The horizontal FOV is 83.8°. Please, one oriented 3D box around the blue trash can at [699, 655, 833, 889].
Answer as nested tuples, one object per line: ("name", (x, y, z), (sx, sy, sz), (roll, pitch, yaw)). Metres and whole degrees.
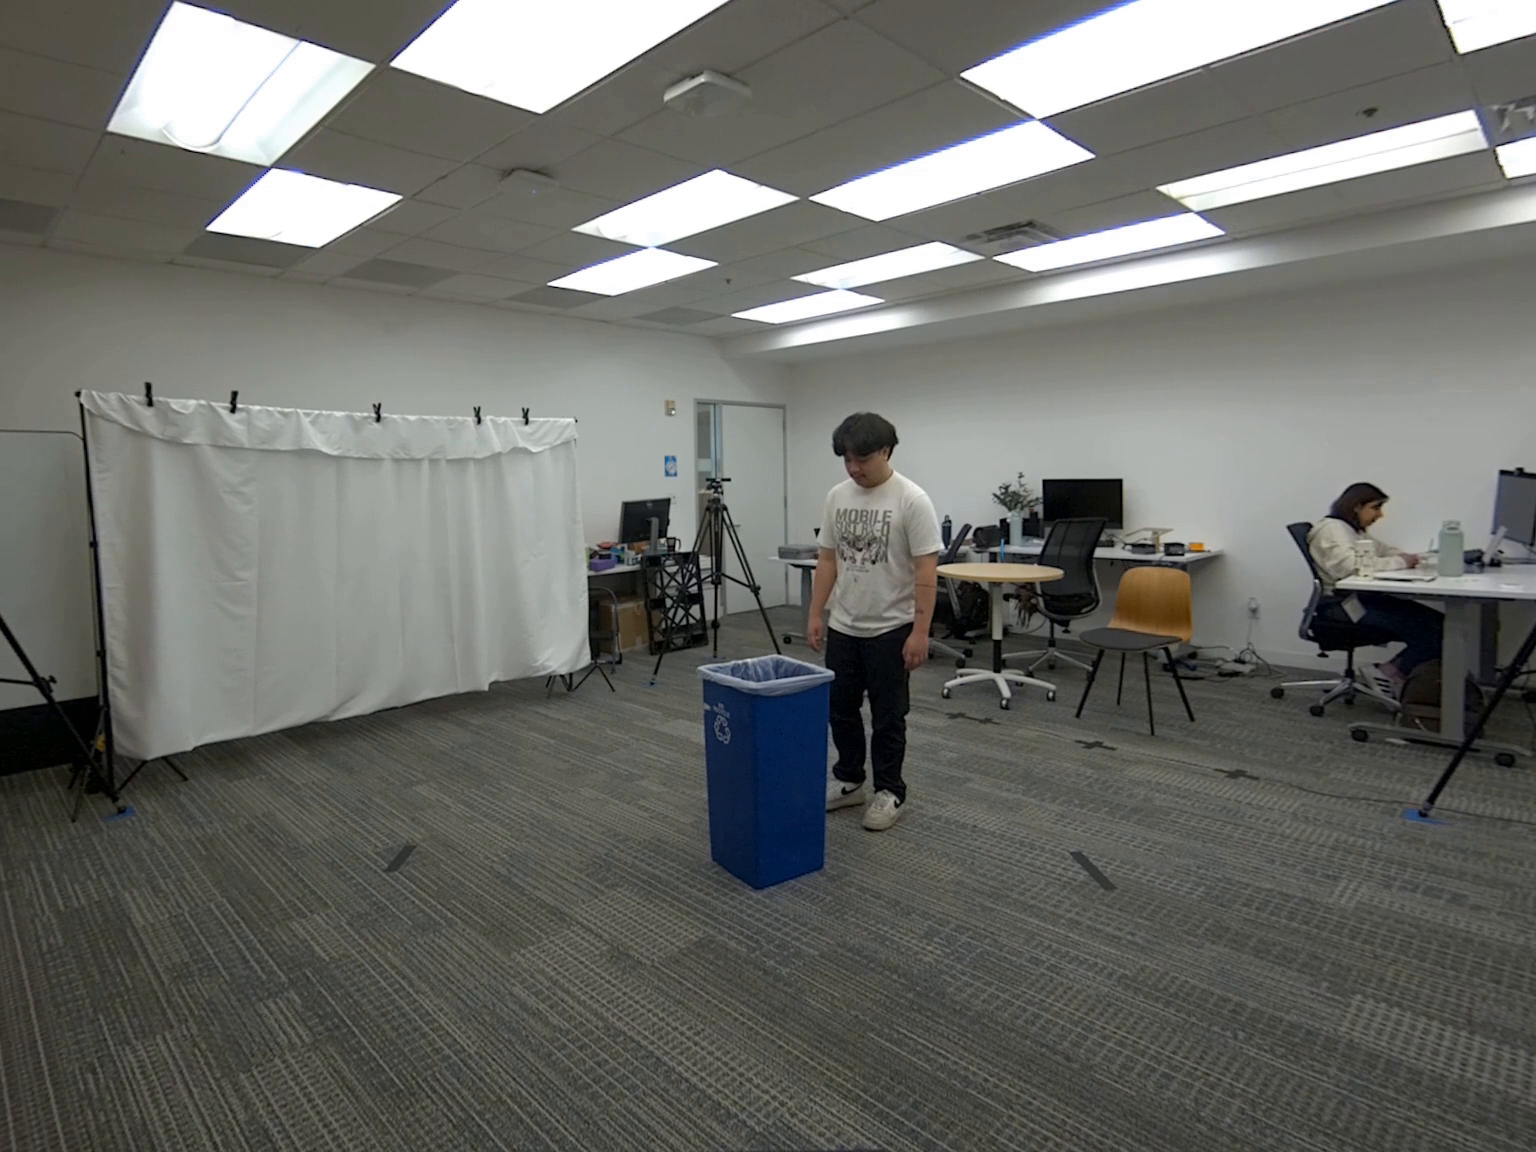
("blue trash can", (0.000, 0.686, 3.068), (0.368, 0.711, 0.385), (-4, 5, -35))
